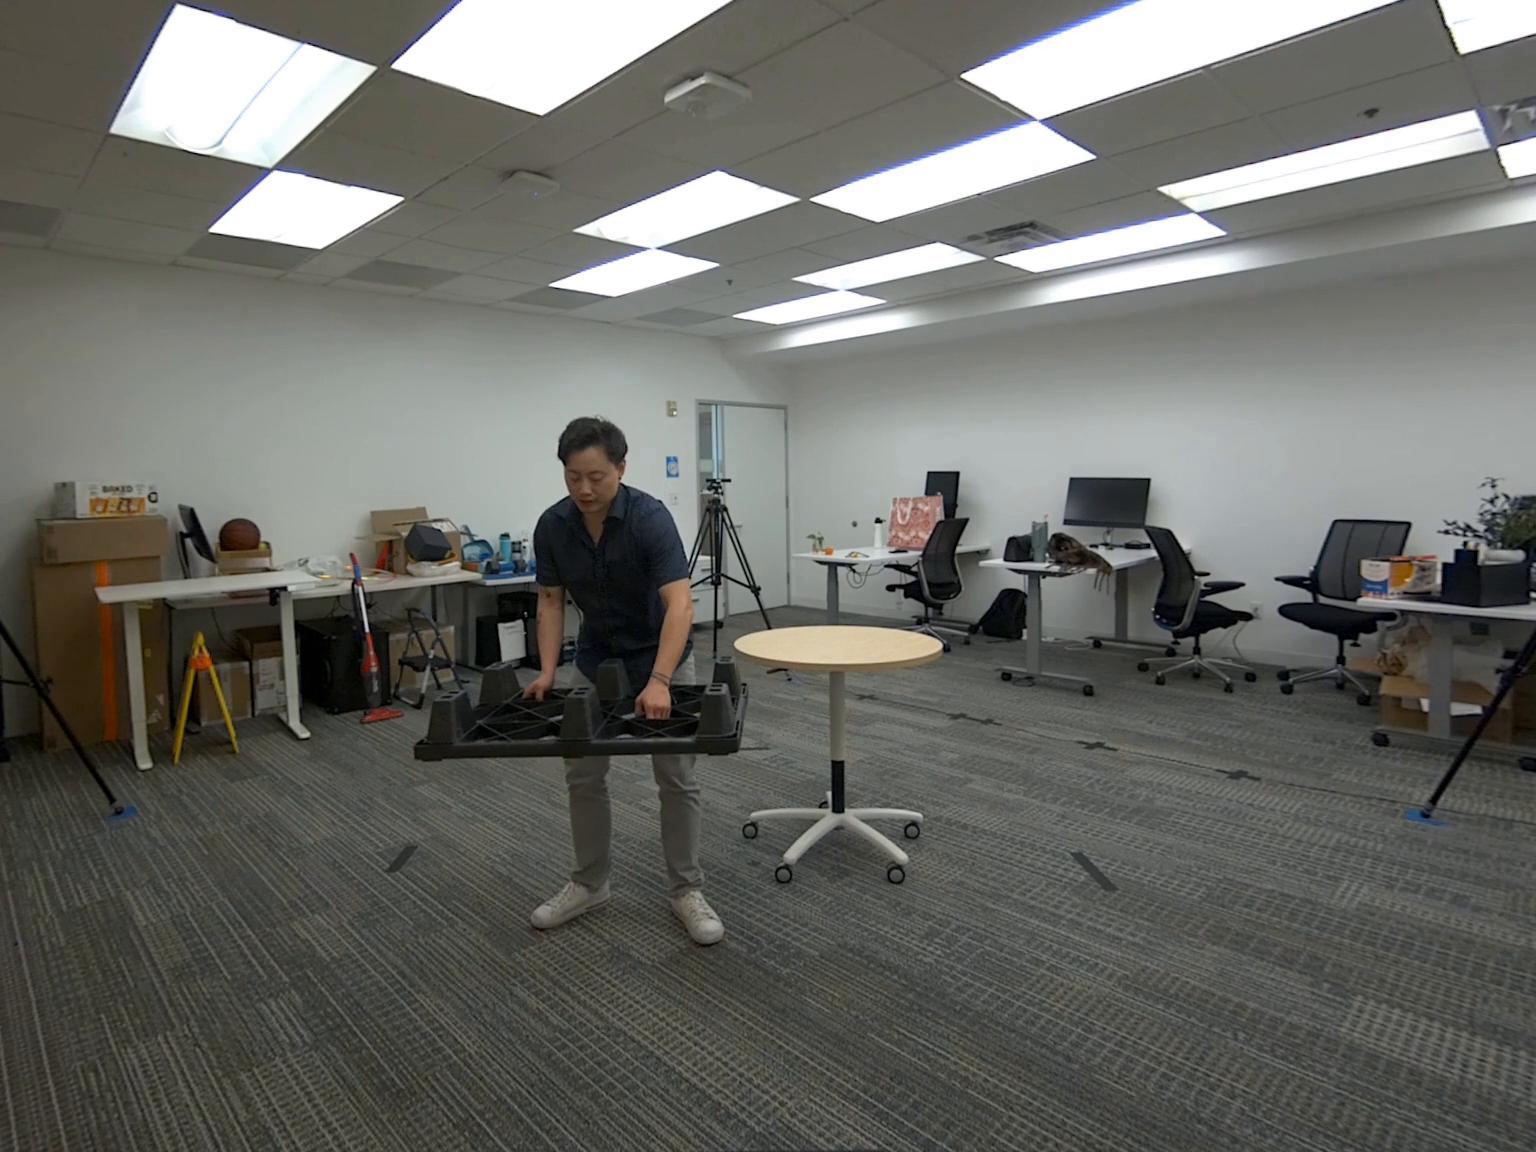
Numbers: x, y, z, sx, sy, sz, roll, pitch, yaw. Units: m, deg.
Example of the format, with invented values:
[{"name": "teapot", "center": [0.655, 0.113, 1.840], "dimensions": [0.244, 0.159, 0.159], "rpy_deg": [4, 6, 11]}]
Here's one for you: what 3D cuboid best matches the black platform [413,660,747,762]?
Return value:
[{"name": "black platform", "center": [-0.468, 0.346, 2.327], "dimensions": [0.808, 0.143, 0.605], "rpy_deg": [-2, 5, 3]}]
